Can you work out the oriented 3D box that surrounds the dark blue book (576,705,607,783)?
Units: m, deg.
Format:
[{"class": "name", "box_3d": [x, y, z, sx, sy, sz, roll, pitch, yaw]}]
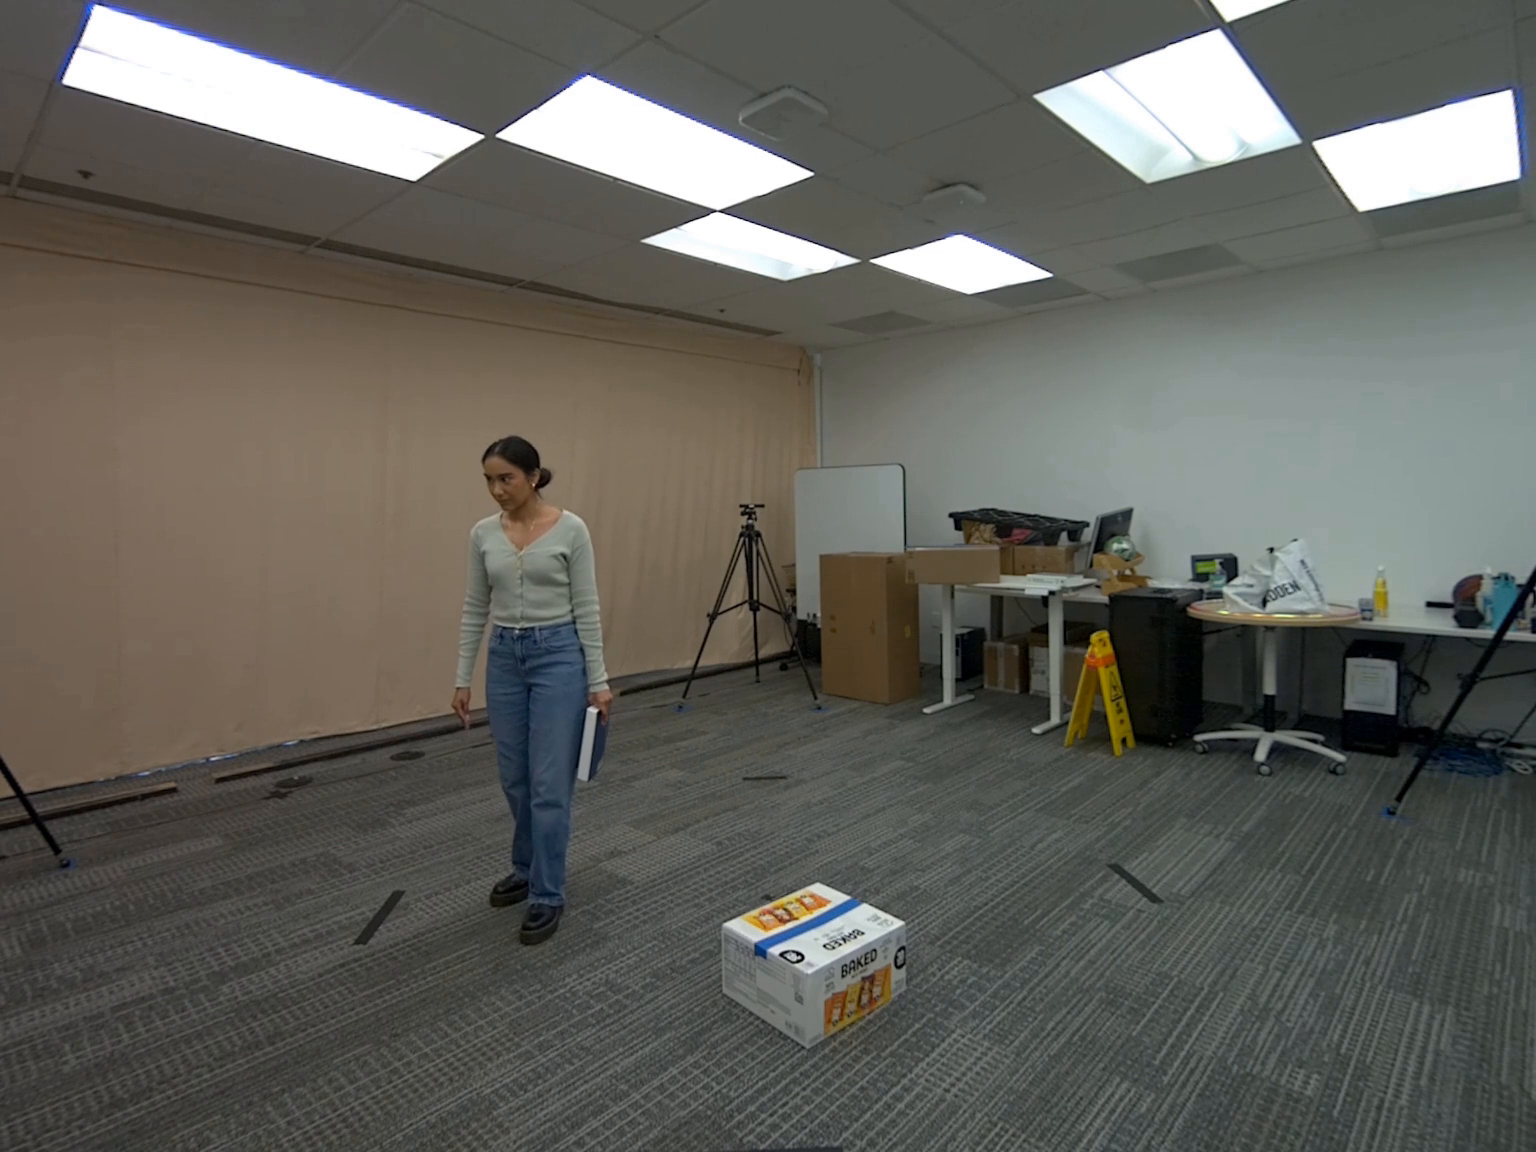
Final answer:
[{"class": "dark blue book", "box_3d": [-0.592, 0.564, 2.854, 0.045, 0.245, 0.162, 8, 1, 5]}]
